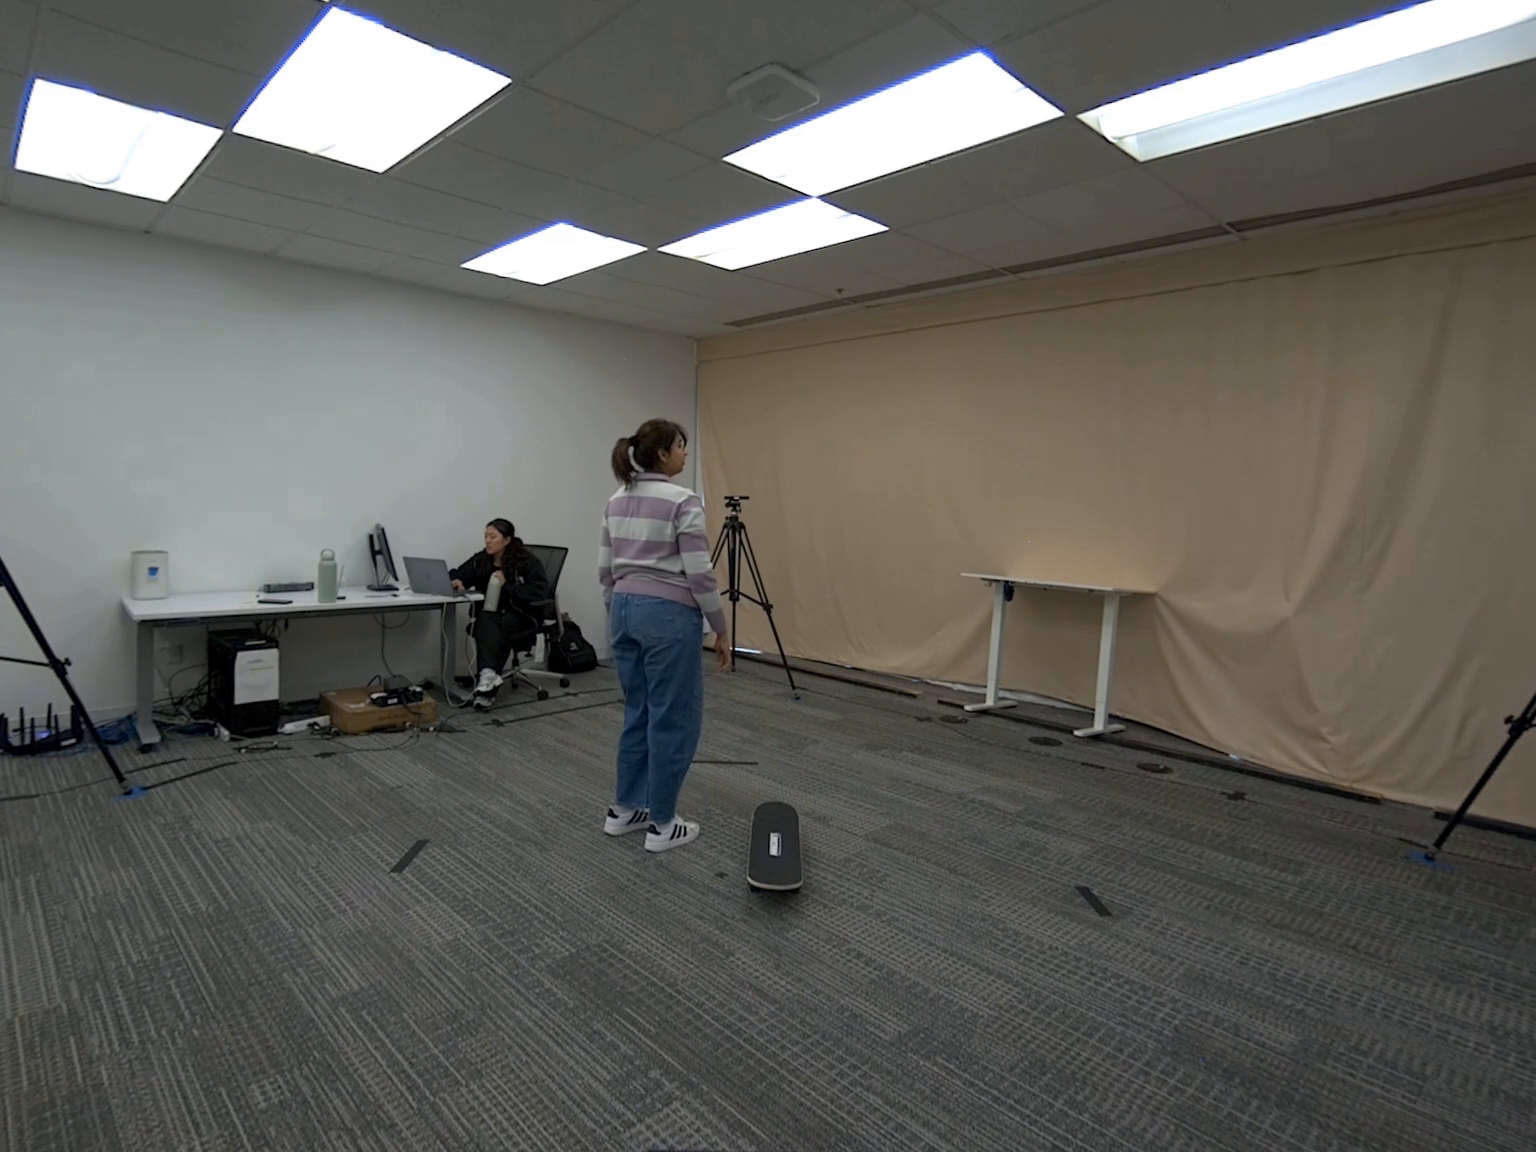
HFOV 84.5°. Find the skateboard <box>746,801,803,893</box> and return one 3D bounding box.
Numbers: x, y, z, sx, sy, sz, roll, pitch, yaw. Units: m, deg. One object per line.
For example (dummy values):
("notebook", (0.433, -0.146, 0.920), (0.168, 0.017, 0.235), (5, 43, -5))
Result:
("skateboard", (0.016, 1.047, 3.175), (0.194, 0.110, 0.786), (1, 5, 1))
